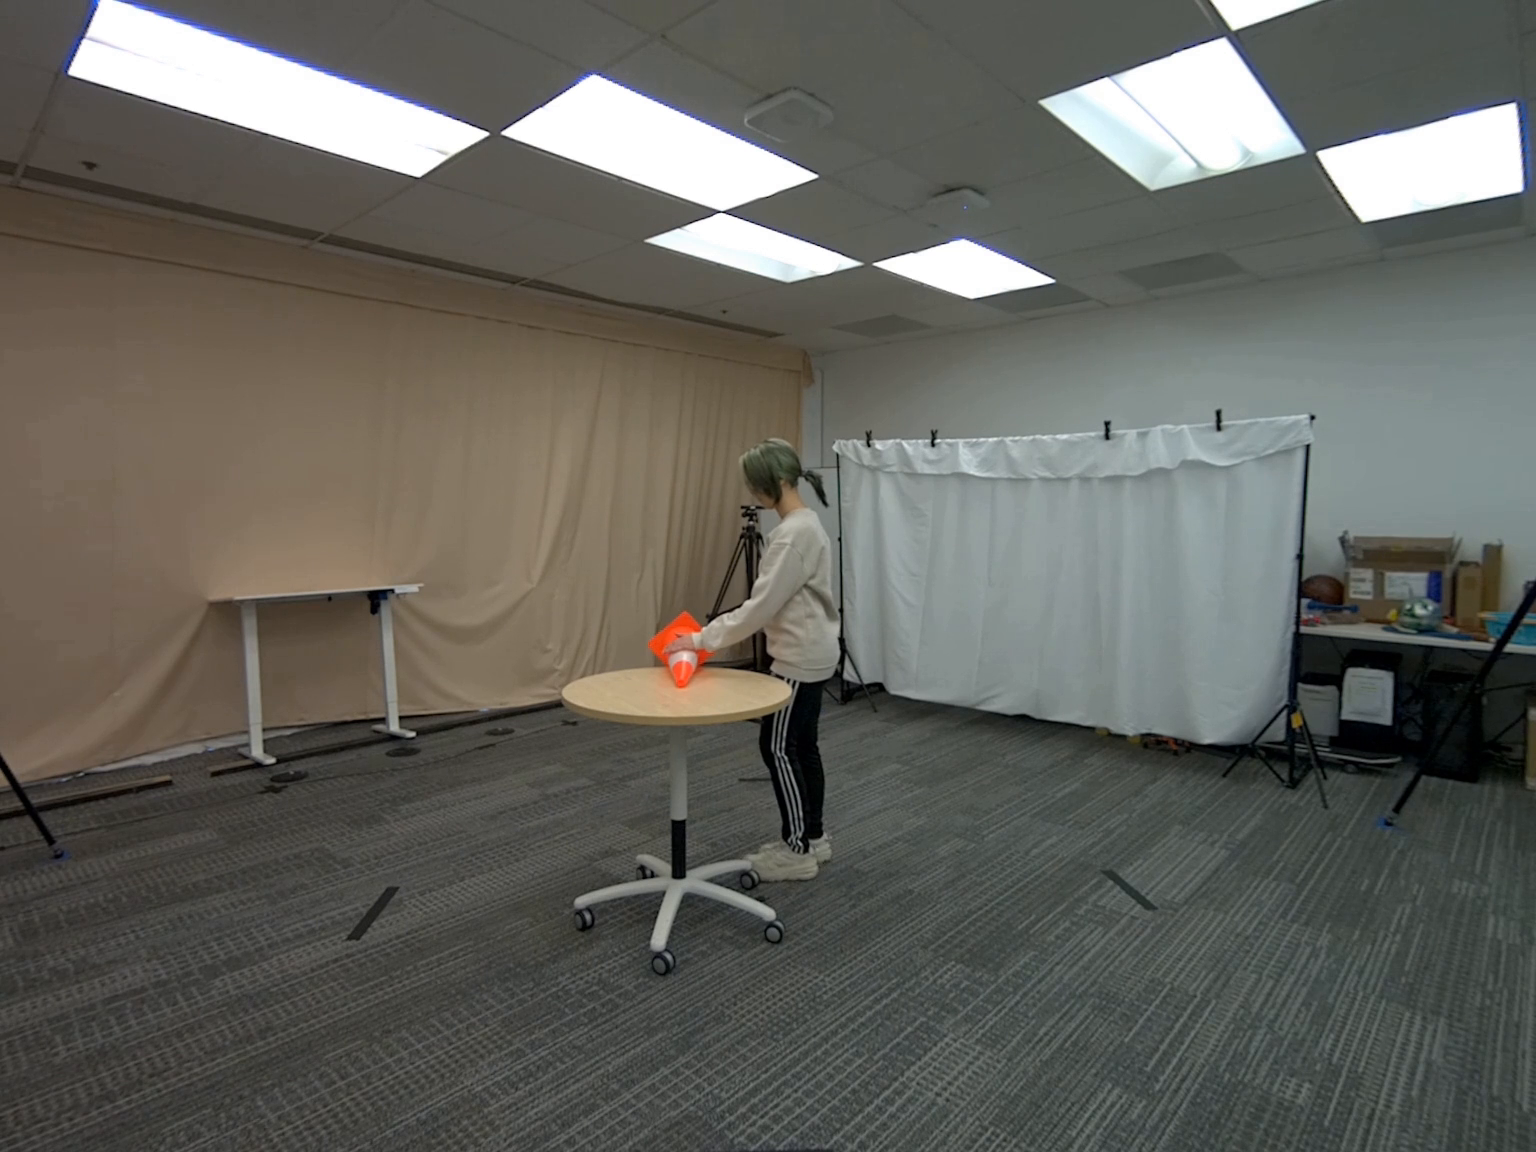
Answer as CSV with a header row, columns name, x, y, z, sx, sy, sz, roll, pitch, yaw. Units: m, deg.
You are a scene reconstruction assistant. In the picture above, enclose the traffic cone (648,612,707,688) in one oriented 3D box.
name,x,y,z,sx,sy,sz,roll,pitch,yaw
traffic cone,-0.302,0.322,3.005,0.200,0.205,0.388,44,8,-13
